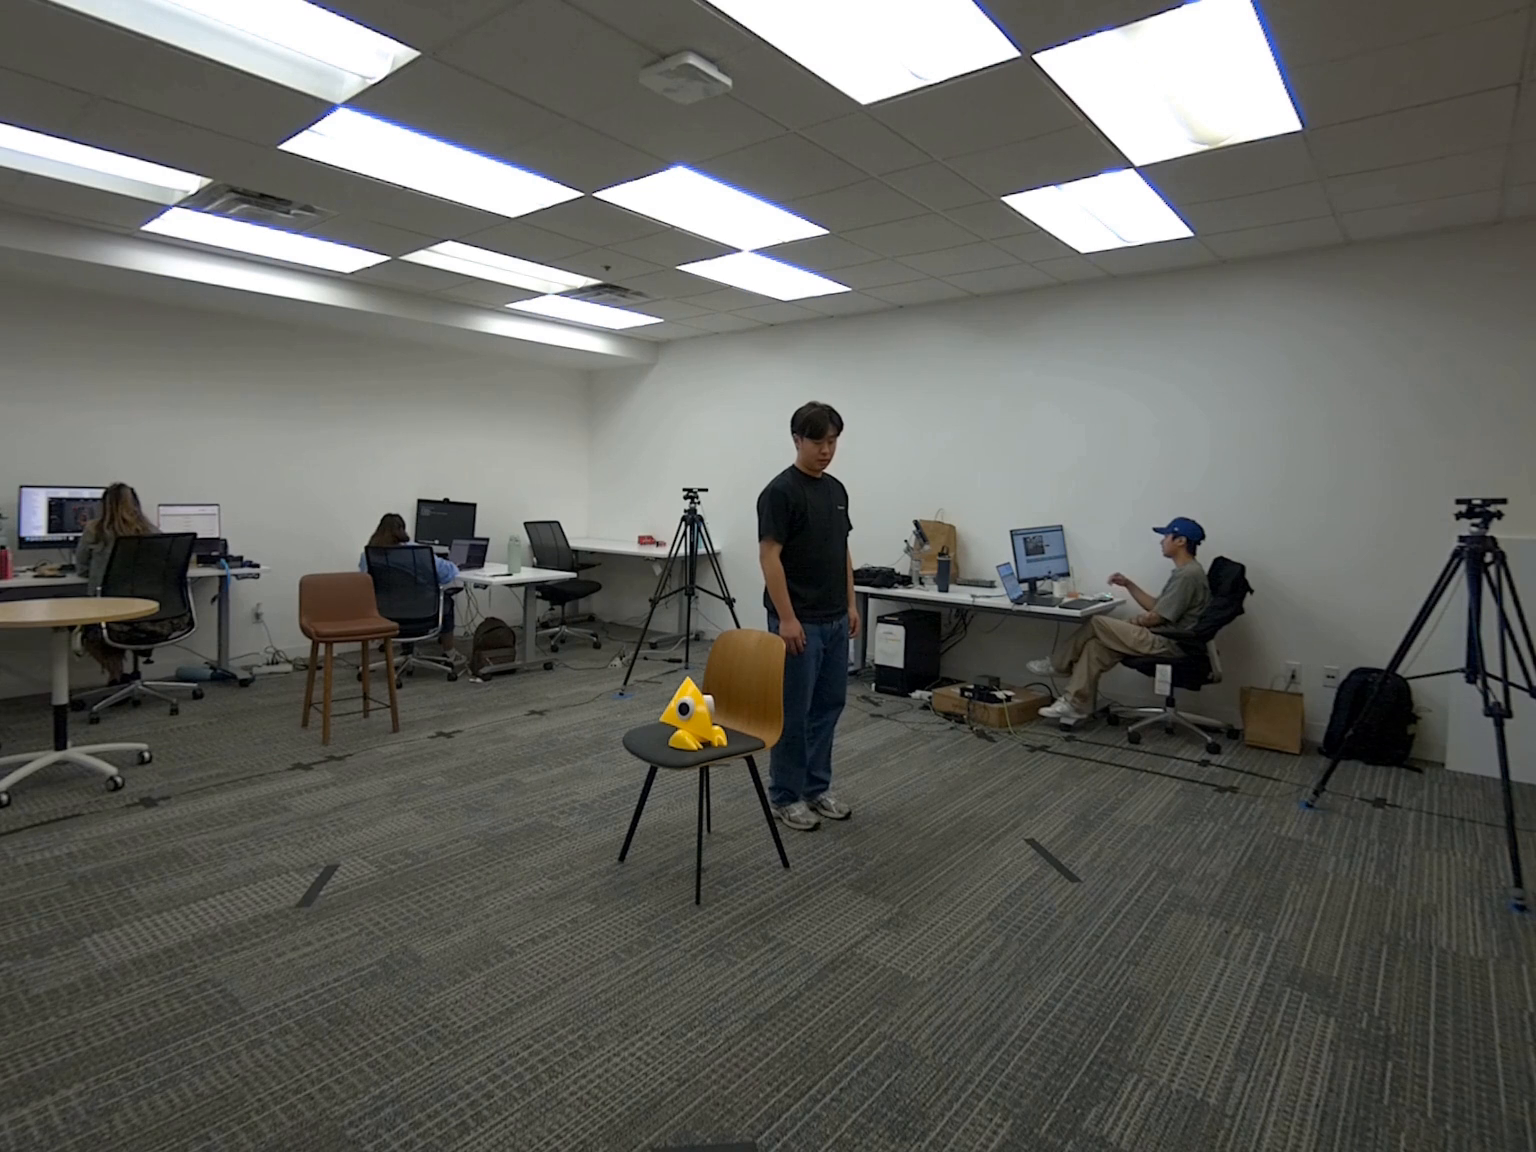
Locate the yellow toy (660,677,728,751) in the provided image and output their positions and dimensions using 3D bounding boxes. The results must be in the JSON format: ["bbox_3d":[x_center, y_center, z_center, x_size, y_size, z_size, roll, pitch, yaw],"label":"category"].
[{"bbox_3d":[-0.262,0.482,3.042,0.198,0.231,0.199,2,-2,-38],"label":"yellow toy"}]
